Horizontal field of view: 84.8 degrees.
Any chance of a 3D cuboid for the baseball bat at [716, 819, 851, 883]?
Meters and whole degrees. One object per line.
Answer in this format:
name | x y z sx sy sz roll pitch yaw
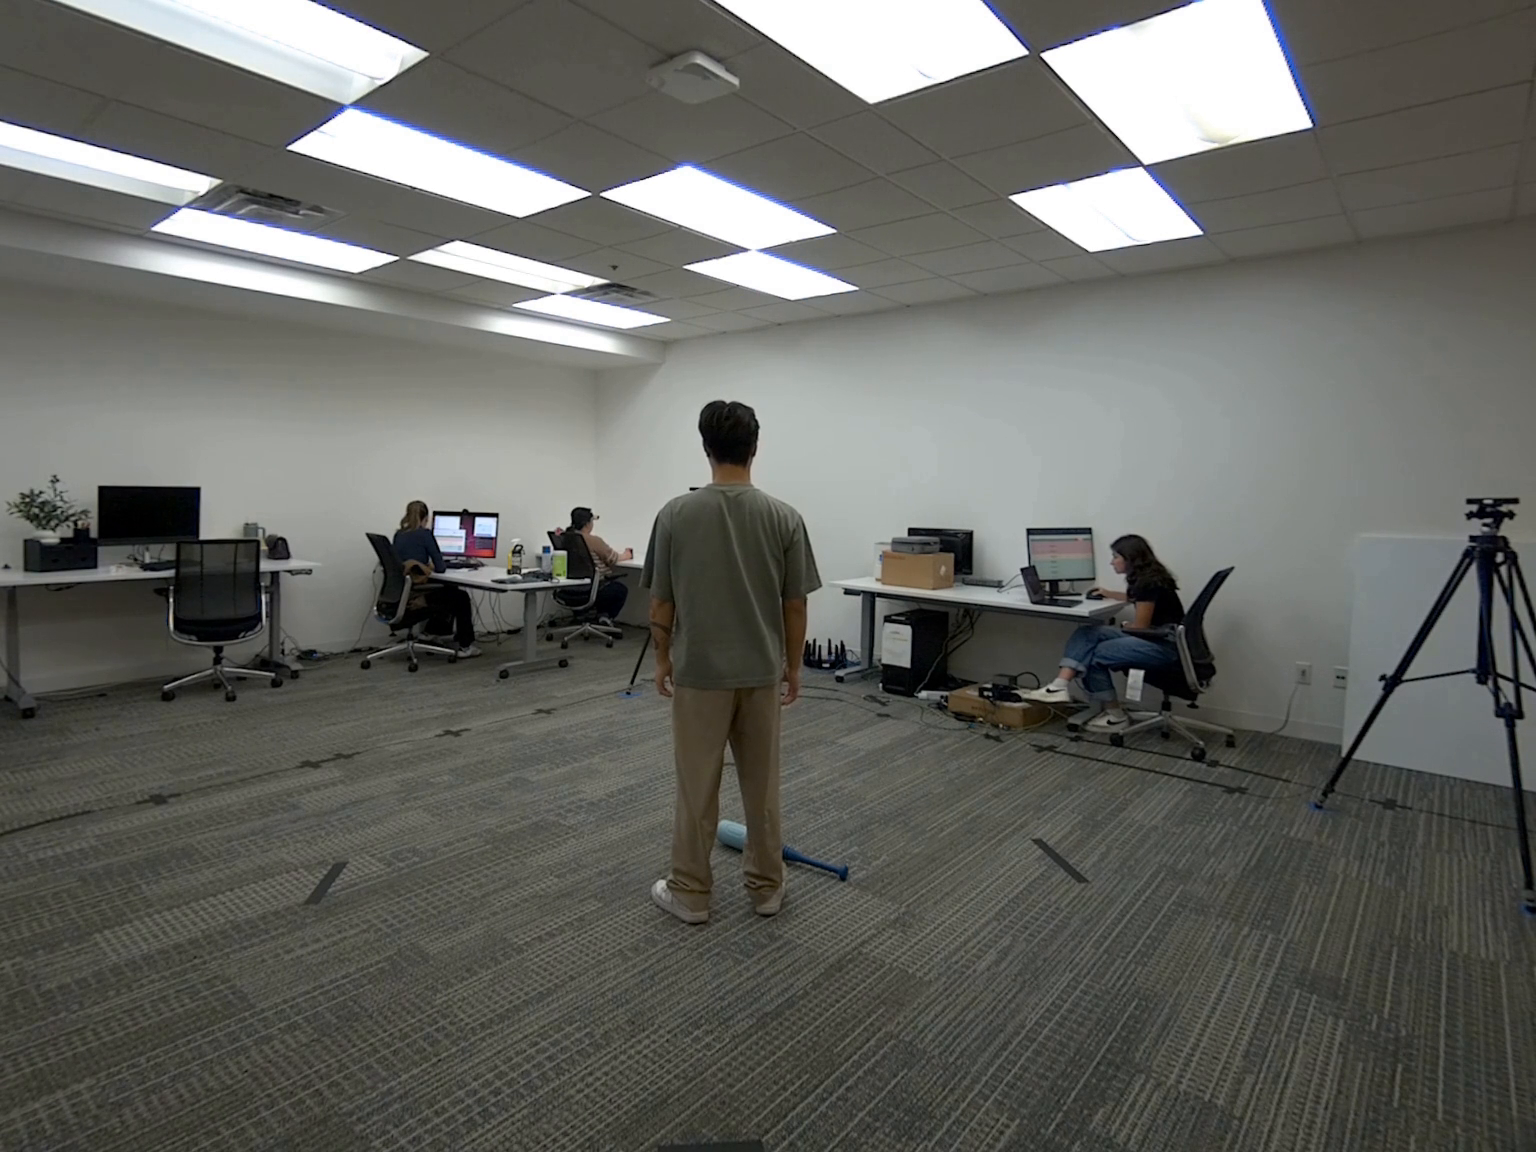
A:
baseball bat | 0.039 1.032 3.188 0.560 0.088 0.087 9 8 31
